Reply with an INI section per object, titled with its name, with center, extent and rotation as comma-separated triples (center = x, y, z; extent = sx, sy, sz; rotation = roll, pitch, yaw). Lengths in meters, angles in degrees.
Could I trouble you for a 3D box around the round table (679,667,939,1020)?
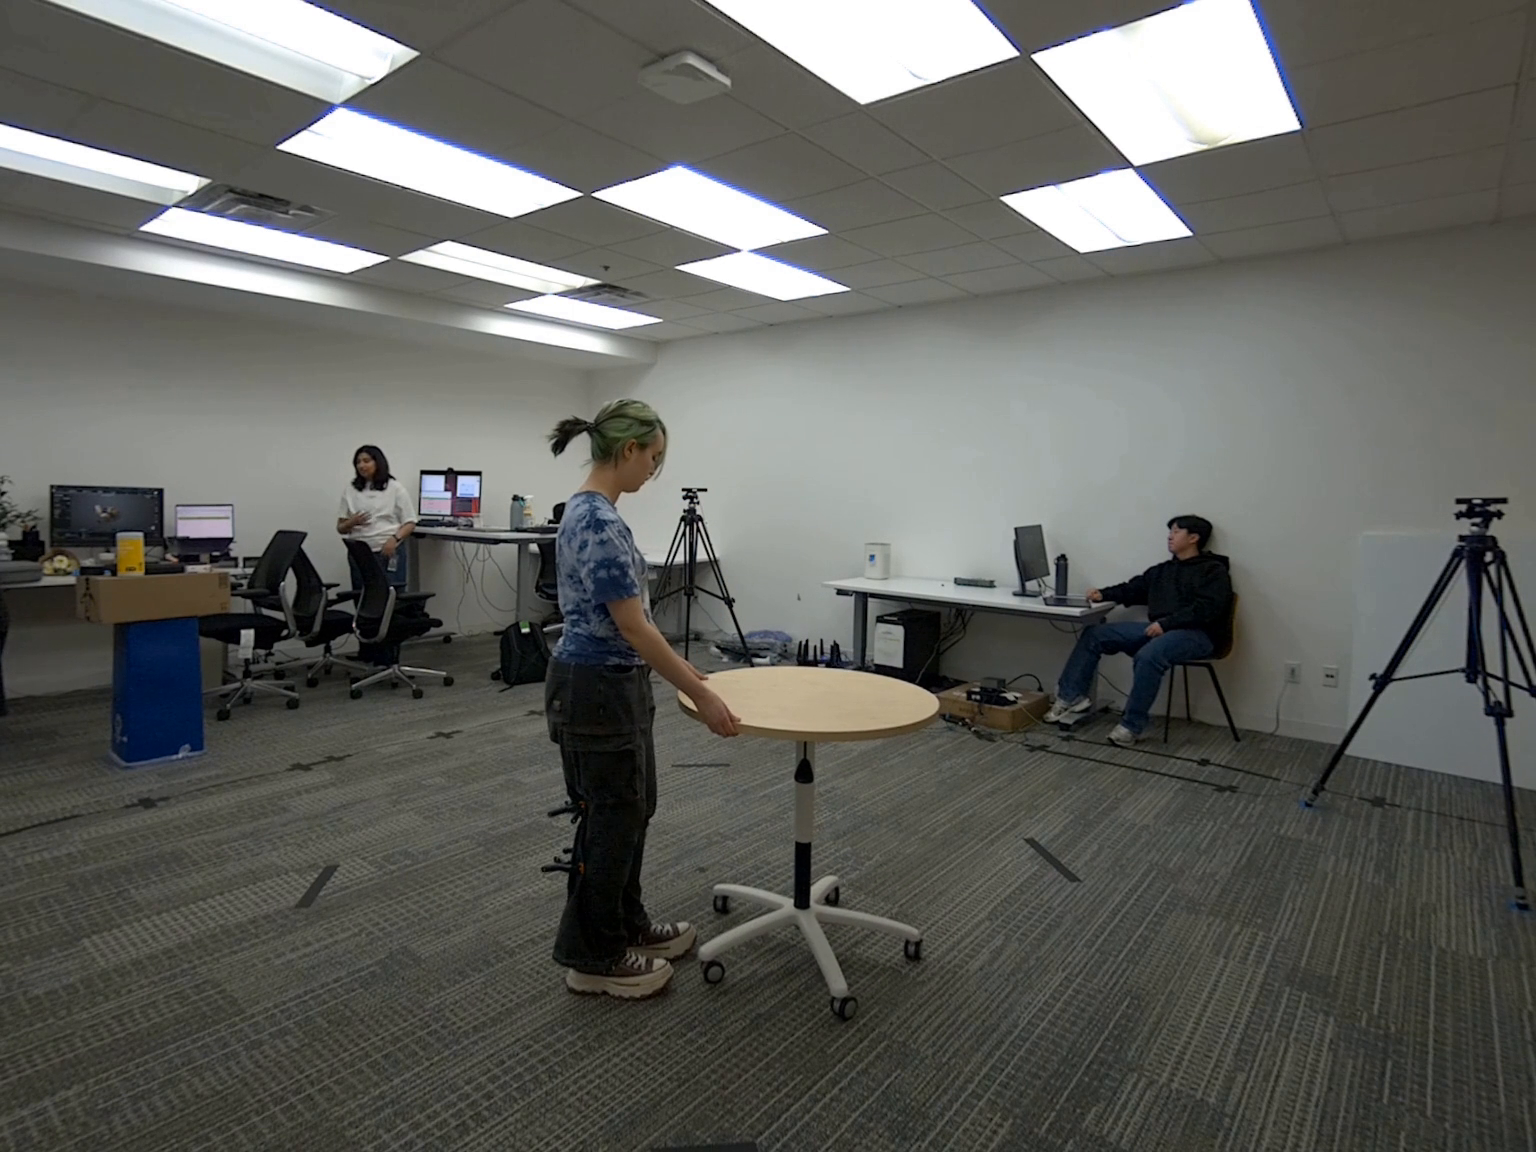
[round table]
center = 0.101, 0.743, 2.560
extent = 0.763, 0.791, 0.768
rotation = 1, 5, -2
